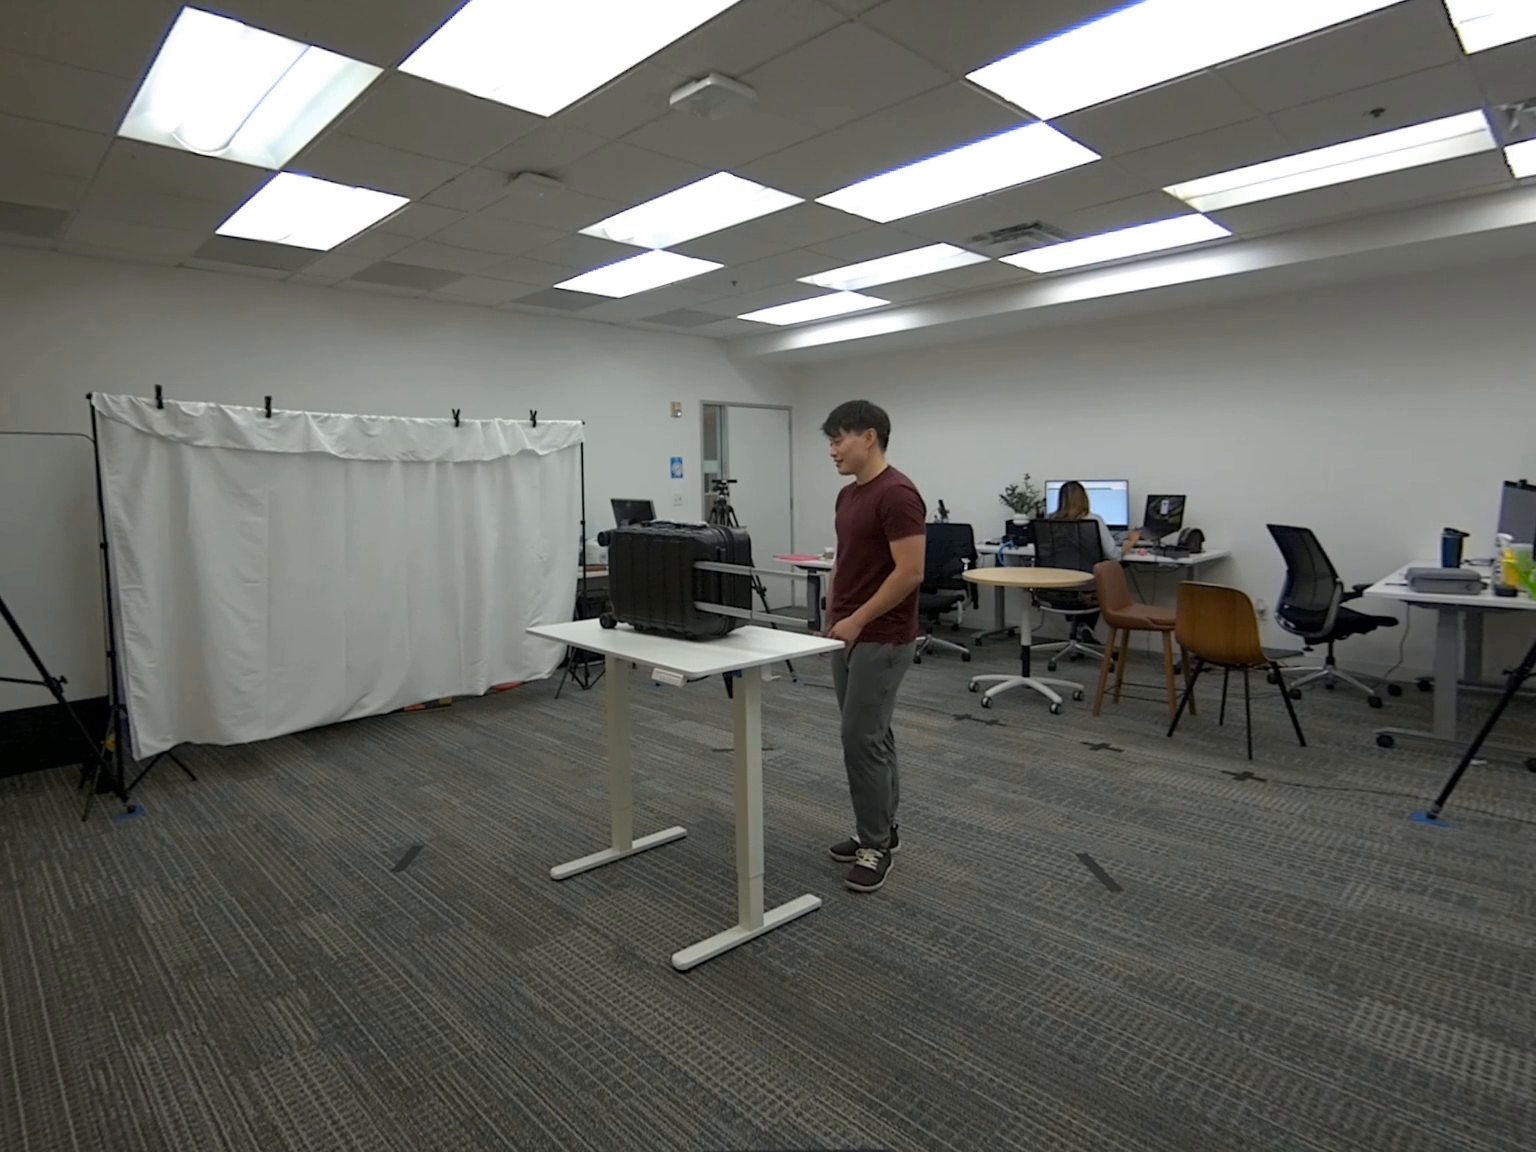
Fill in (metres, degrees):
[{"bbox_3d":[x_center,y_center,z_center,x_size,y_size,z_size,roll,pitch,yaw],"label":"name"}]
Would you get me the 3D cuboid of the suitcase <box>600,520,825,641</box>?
[{"bbox_3d":[-0.156,0.021,2.769,1.009,0.383,0.250,4,6,41],"label":"suitcase"}]
